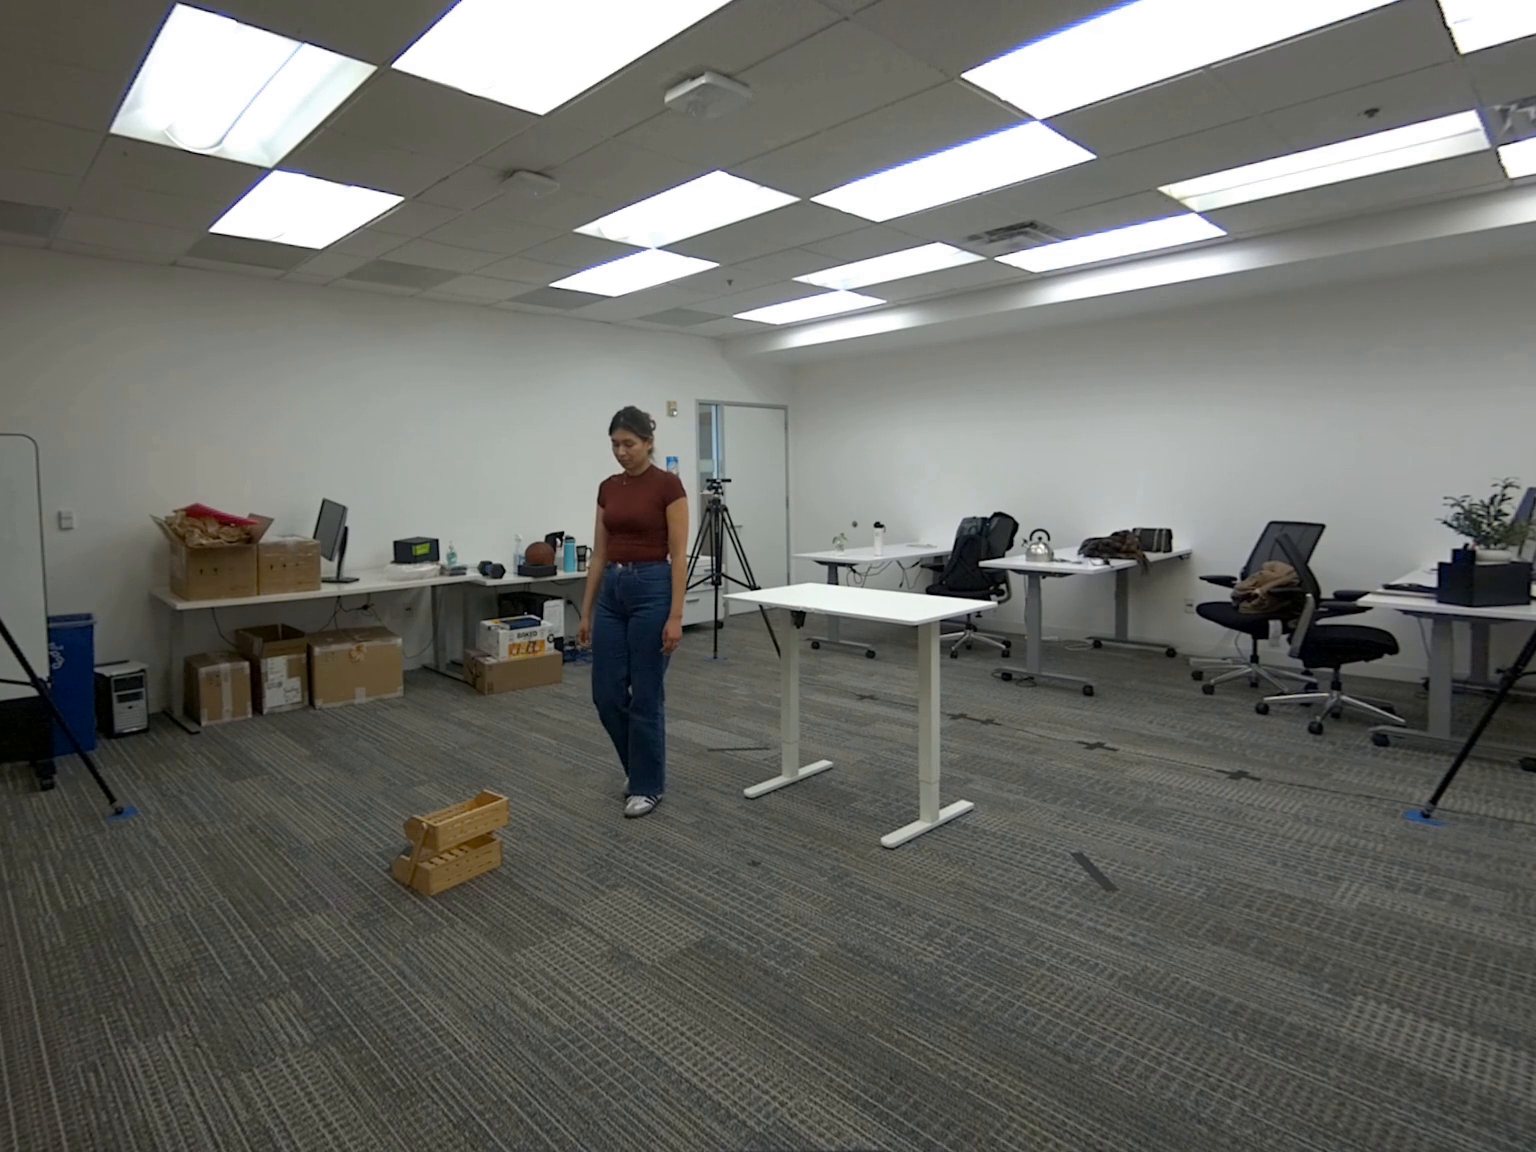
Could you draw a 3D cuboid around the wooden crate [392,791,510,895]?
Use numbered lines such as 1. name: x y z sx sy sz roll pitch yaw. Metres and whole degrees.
1. wooden crate: -1.143 0.938 3.080 0.311 0.272 0.316 4 7 37
